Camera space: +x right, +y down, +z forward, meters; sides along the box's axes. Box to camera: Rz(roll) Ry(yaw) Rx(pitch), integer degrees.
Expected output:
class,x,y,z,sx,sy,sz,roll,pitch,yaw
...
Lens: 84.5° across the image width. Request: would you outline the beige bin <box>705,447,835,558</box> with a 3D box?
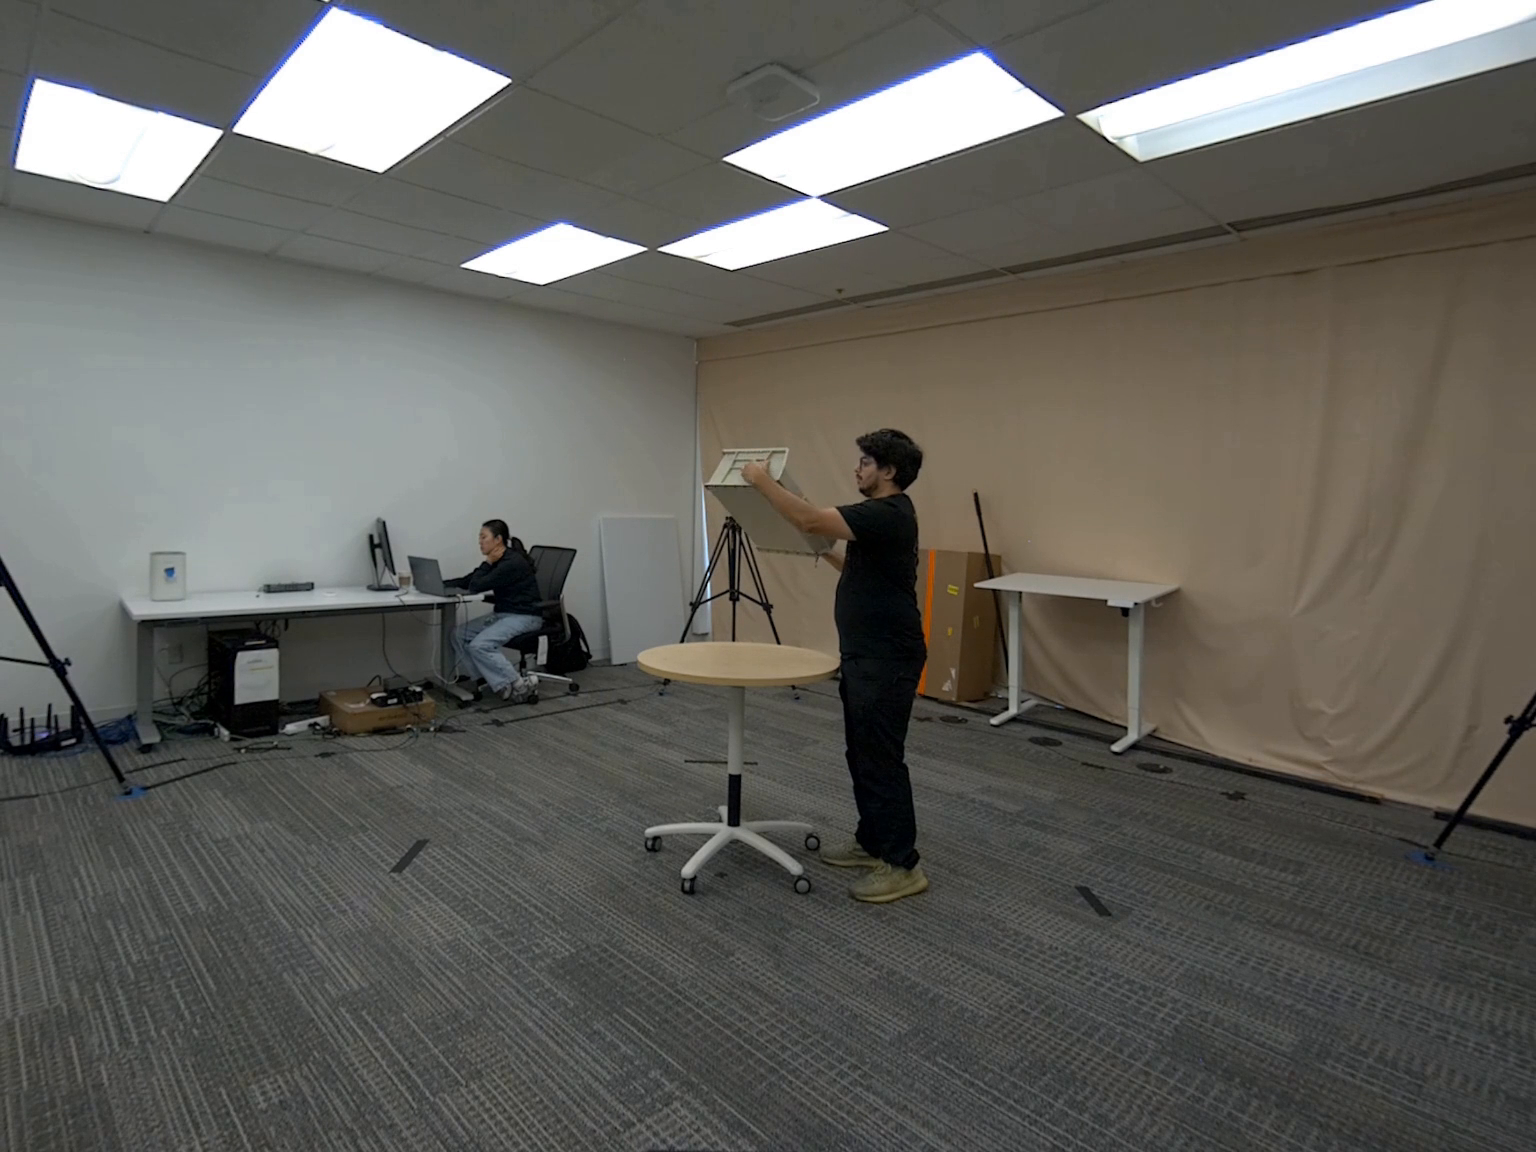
class,x,y,z,sx,sy,sz,roll,pitch,yaw
beige bin,0.023,-0.274,3.215,0.387,0.190,0.409,7,-32,43
